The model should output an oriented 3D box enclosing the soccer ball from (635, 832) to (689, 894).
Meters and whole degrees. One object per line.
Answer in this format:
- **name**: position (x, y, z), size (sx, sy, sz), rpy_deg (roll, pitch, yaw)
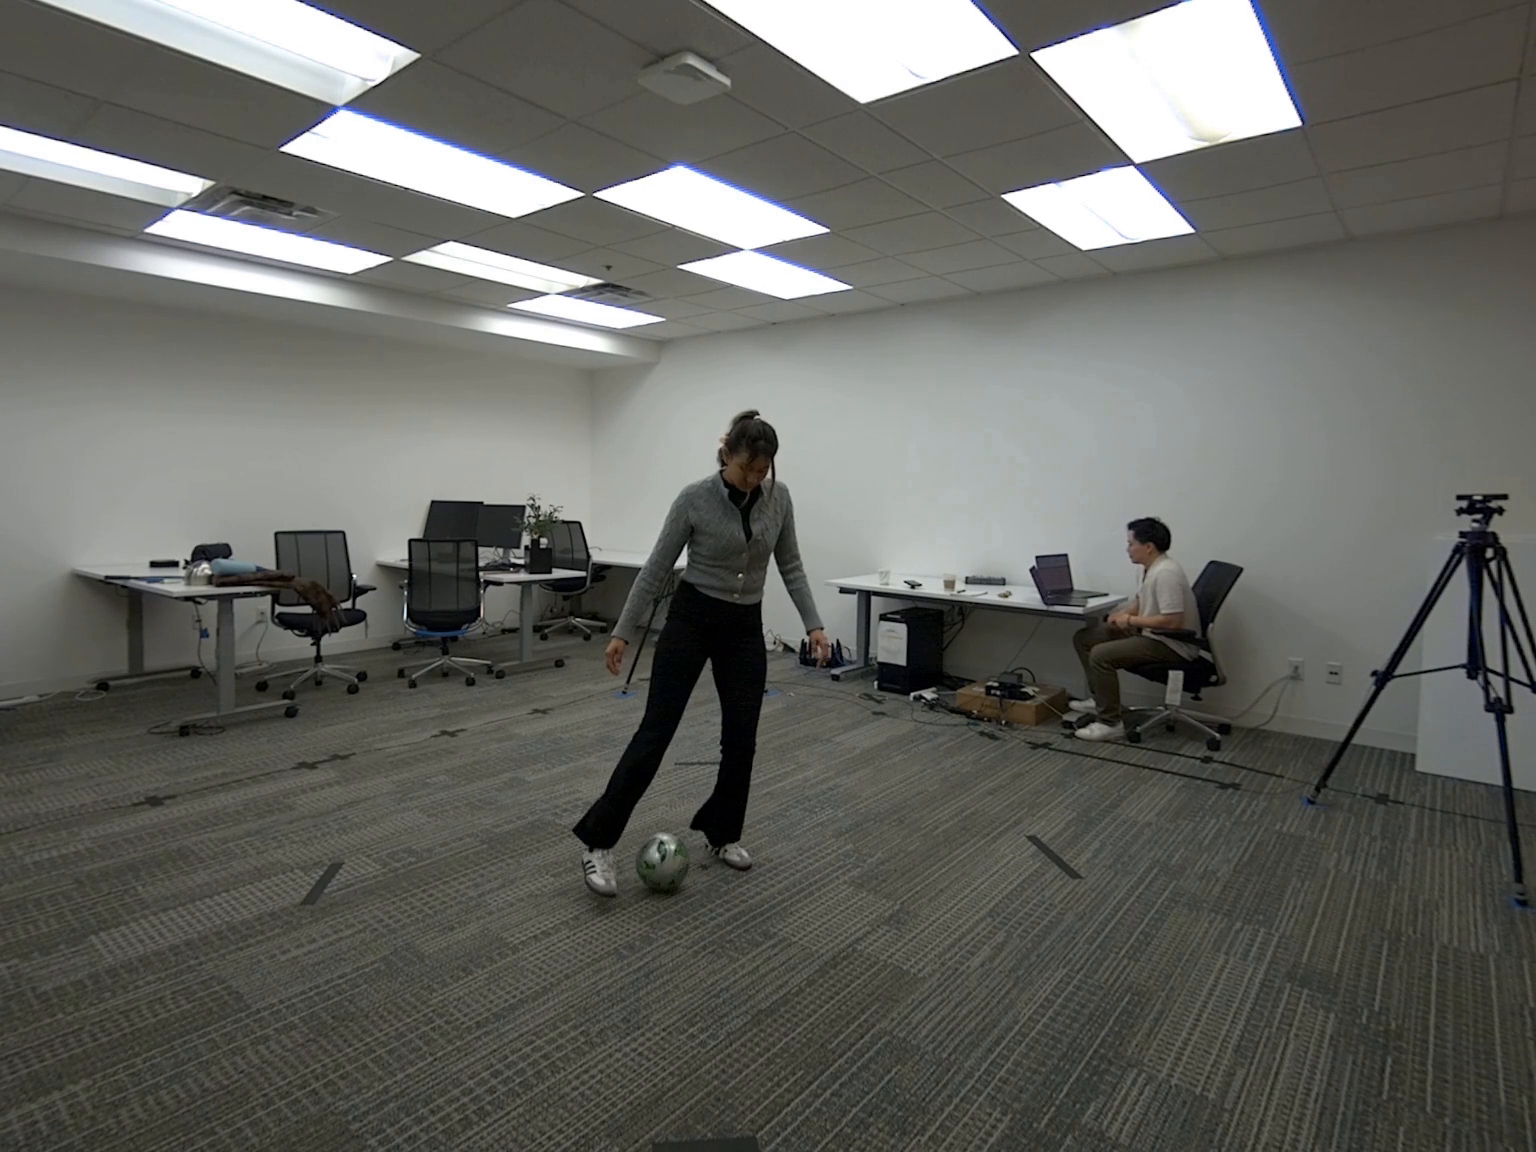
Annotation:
- **soccer ball**: position (-0.352, 0.990, 2.943), size (0.187, 0.187, 0.188), rpy_deg (1, 4, -2)
